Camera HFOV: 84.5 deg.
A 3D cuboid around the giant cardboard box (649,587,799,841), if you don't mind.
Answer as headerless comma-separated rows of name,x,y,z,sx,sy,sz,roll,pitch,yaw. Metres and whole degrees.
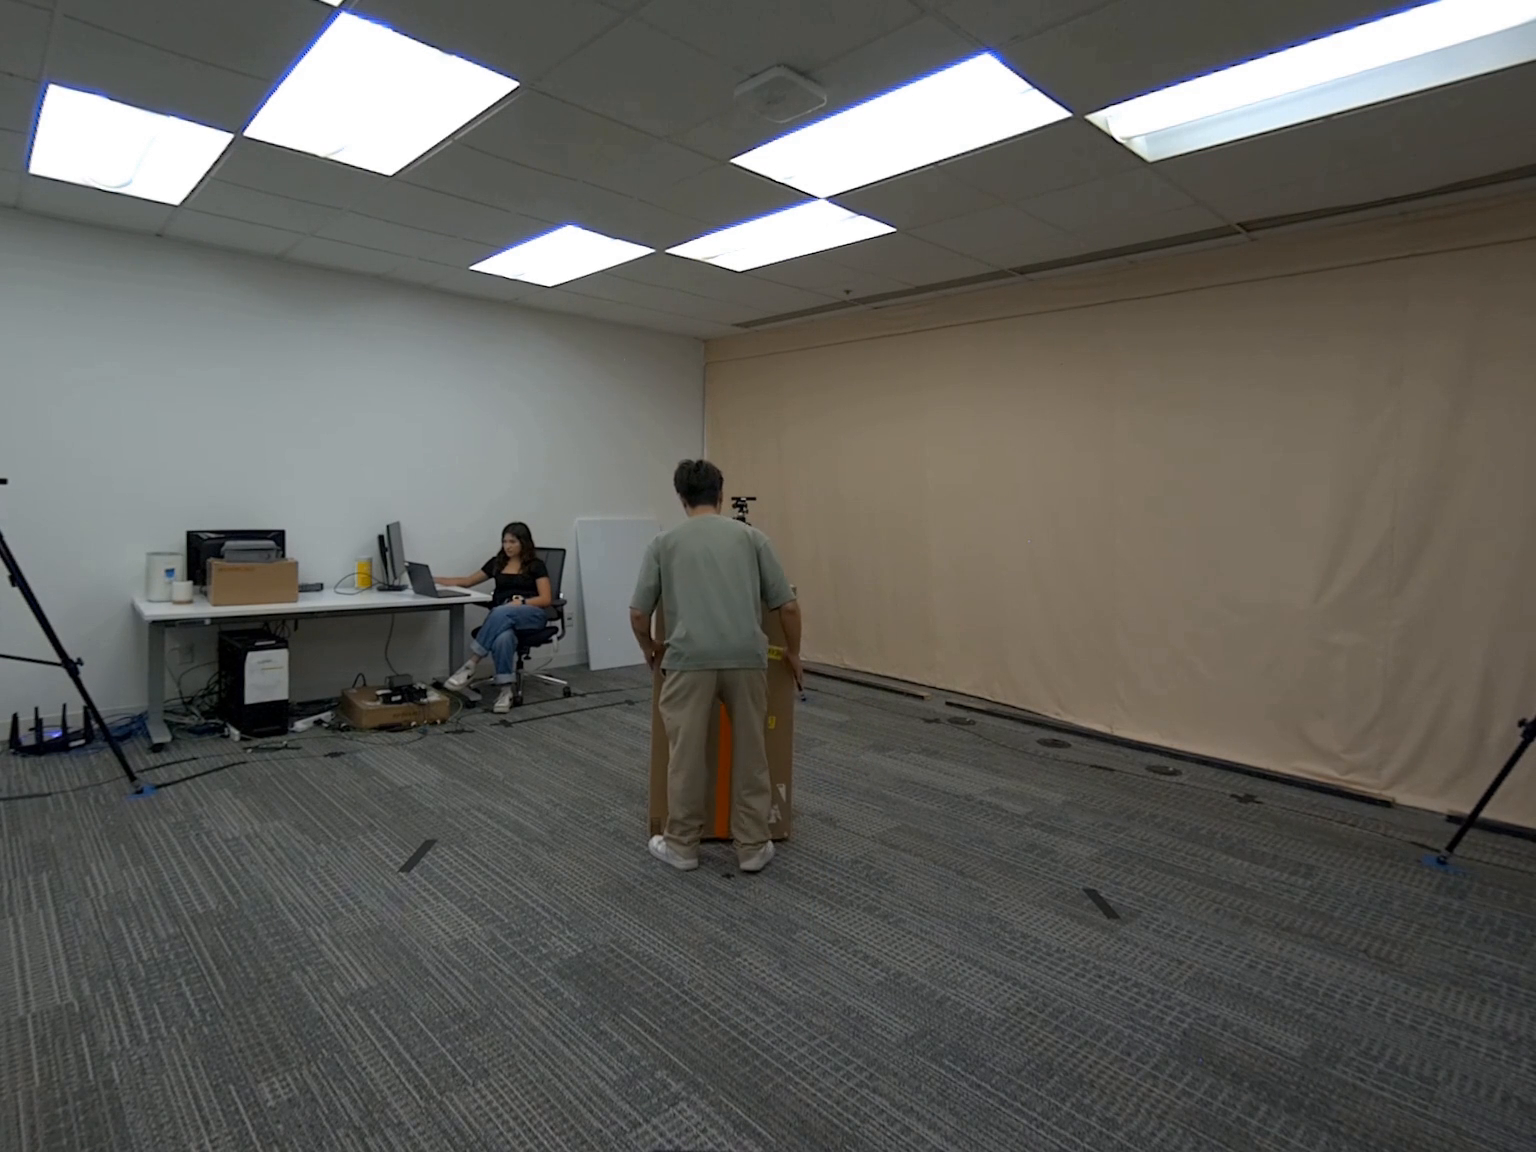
giant cardboard box,-0.207,0.545,3.614,0.575,1.026,0.428,1,-1,-6
